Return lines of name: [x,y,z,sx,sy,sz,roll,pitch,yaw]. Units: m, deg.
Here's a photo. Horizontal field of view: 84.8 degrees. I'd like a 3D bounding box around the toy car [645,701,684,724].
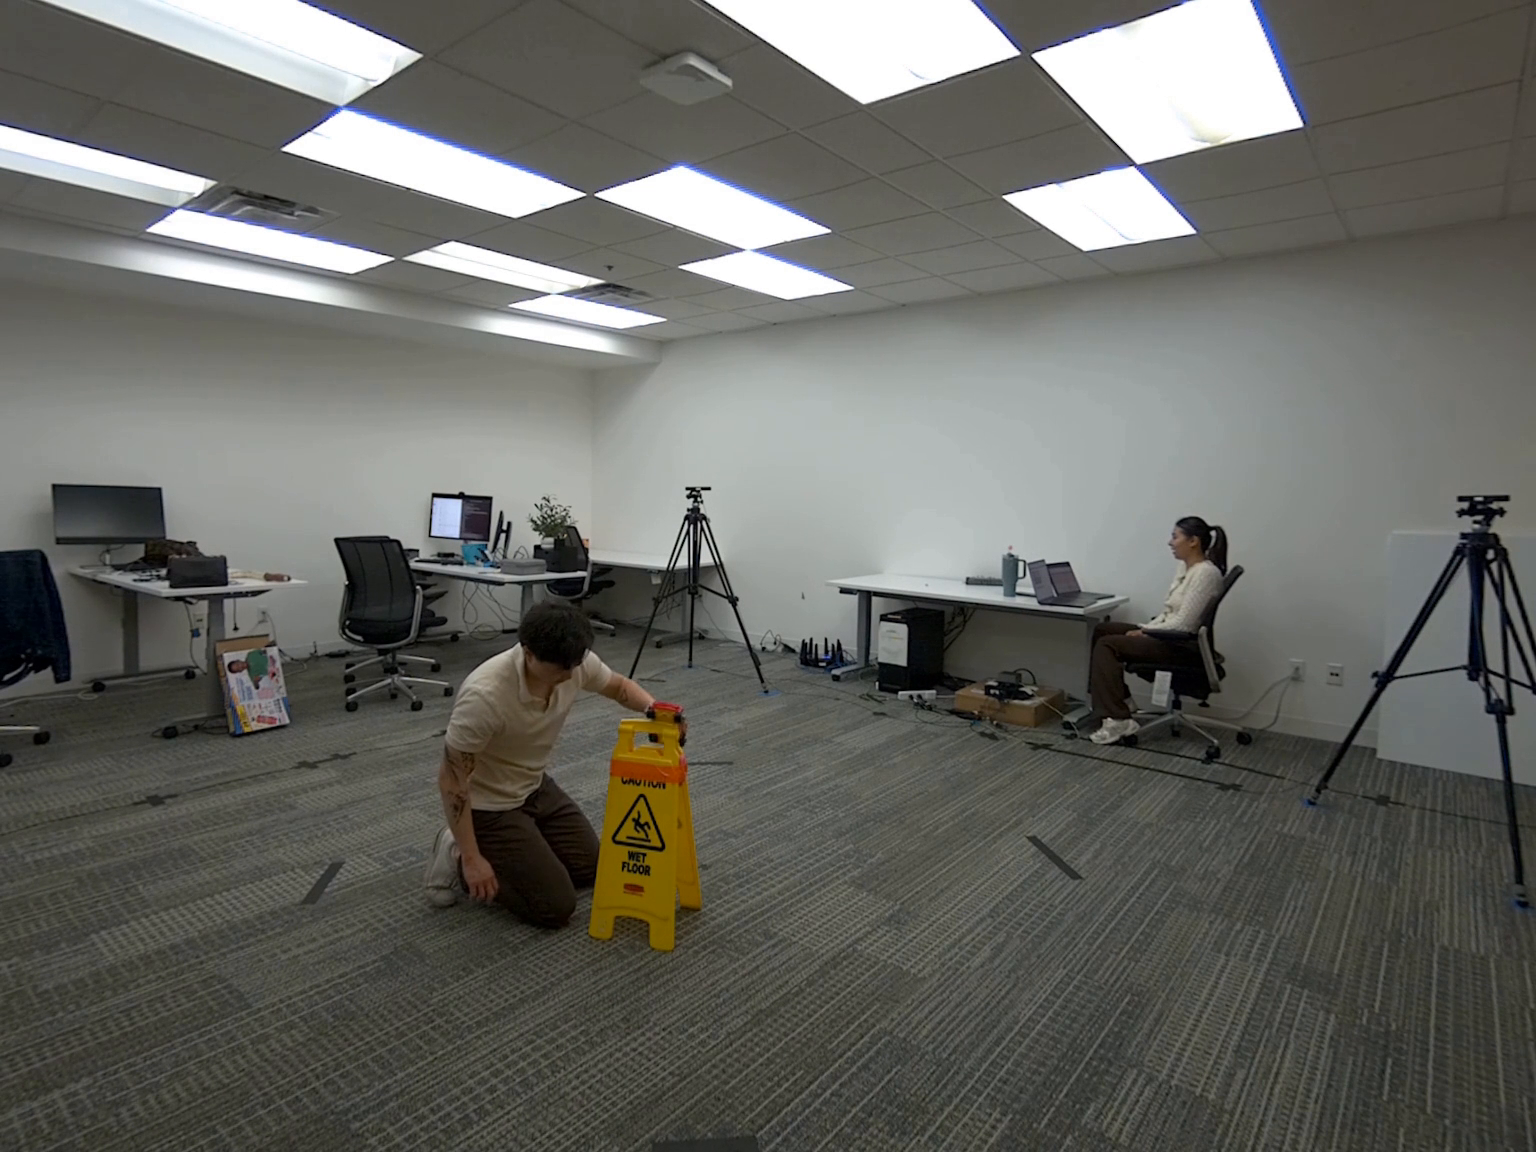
toy car: [-0.338,0.492,2.729,0.131,0.085,0.247,9,-33,6]
